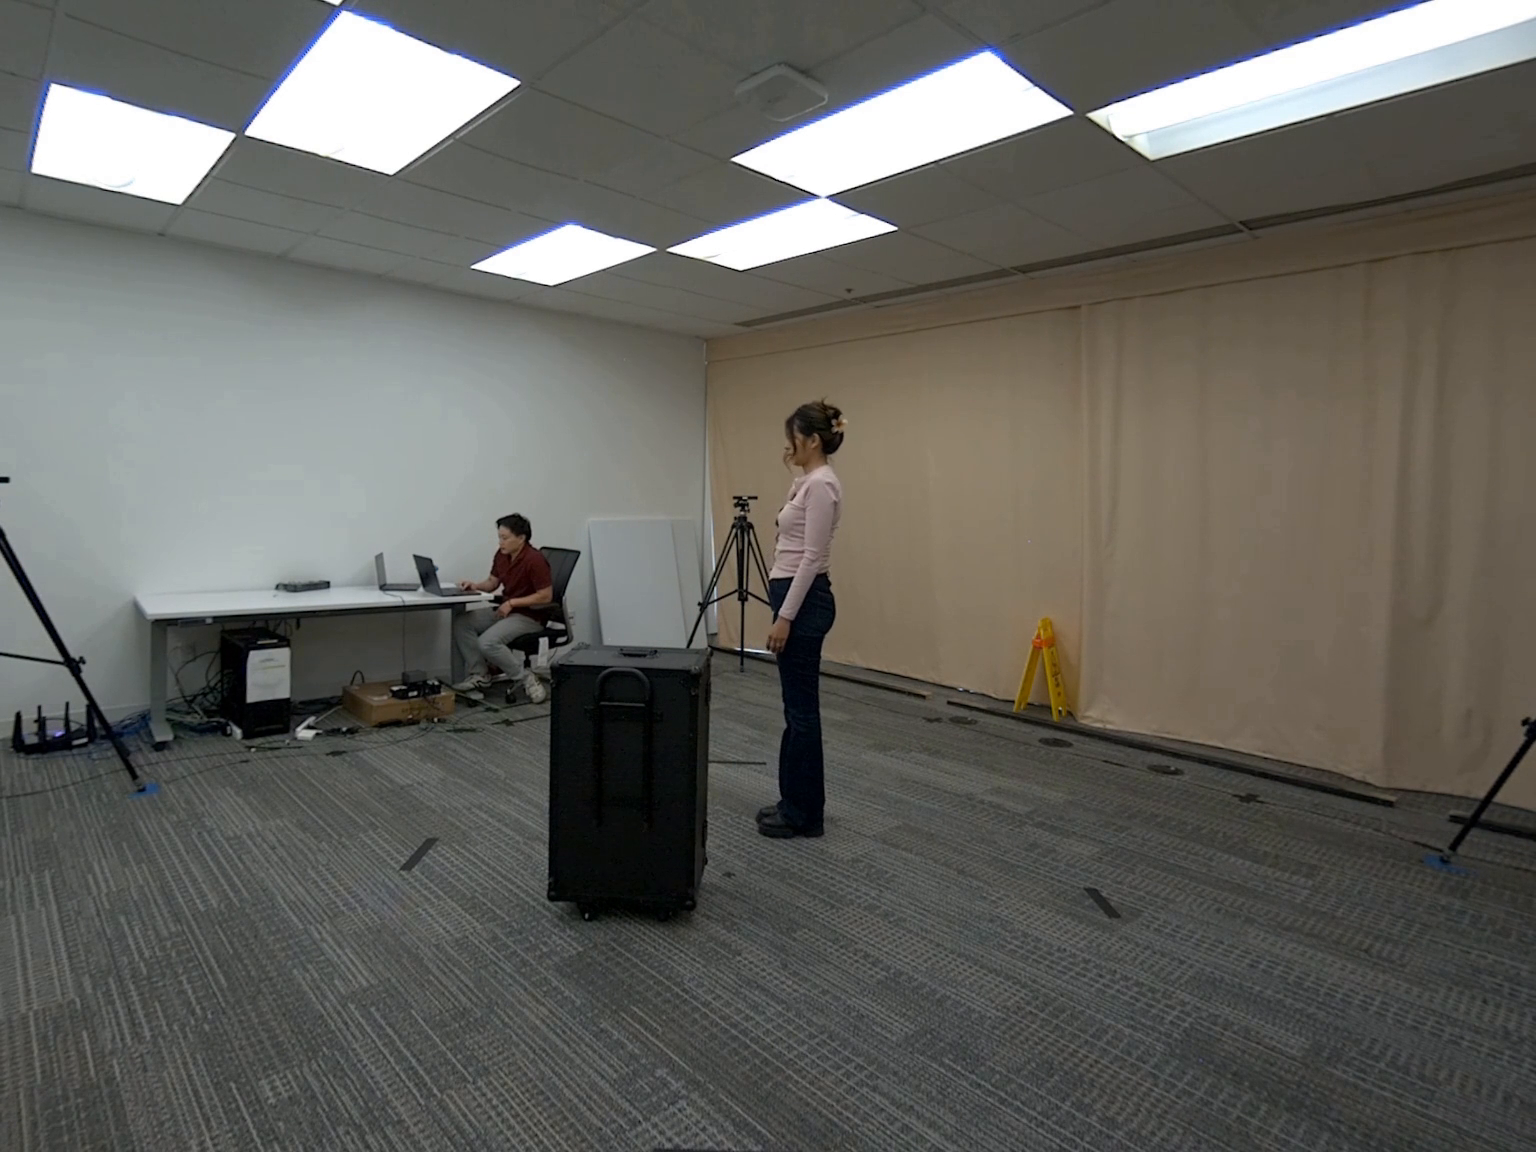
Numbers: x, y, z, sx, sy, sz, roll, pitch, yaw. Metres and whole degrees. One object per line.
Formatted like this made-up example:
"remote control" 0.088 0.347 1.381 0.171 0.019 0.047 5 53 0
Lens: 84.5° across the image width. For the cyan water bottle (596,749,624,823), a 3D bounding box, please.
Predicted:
"cyan water bottle" -0.681 0.900 3.639 0.092 0.283 0.092 3 2 -2
